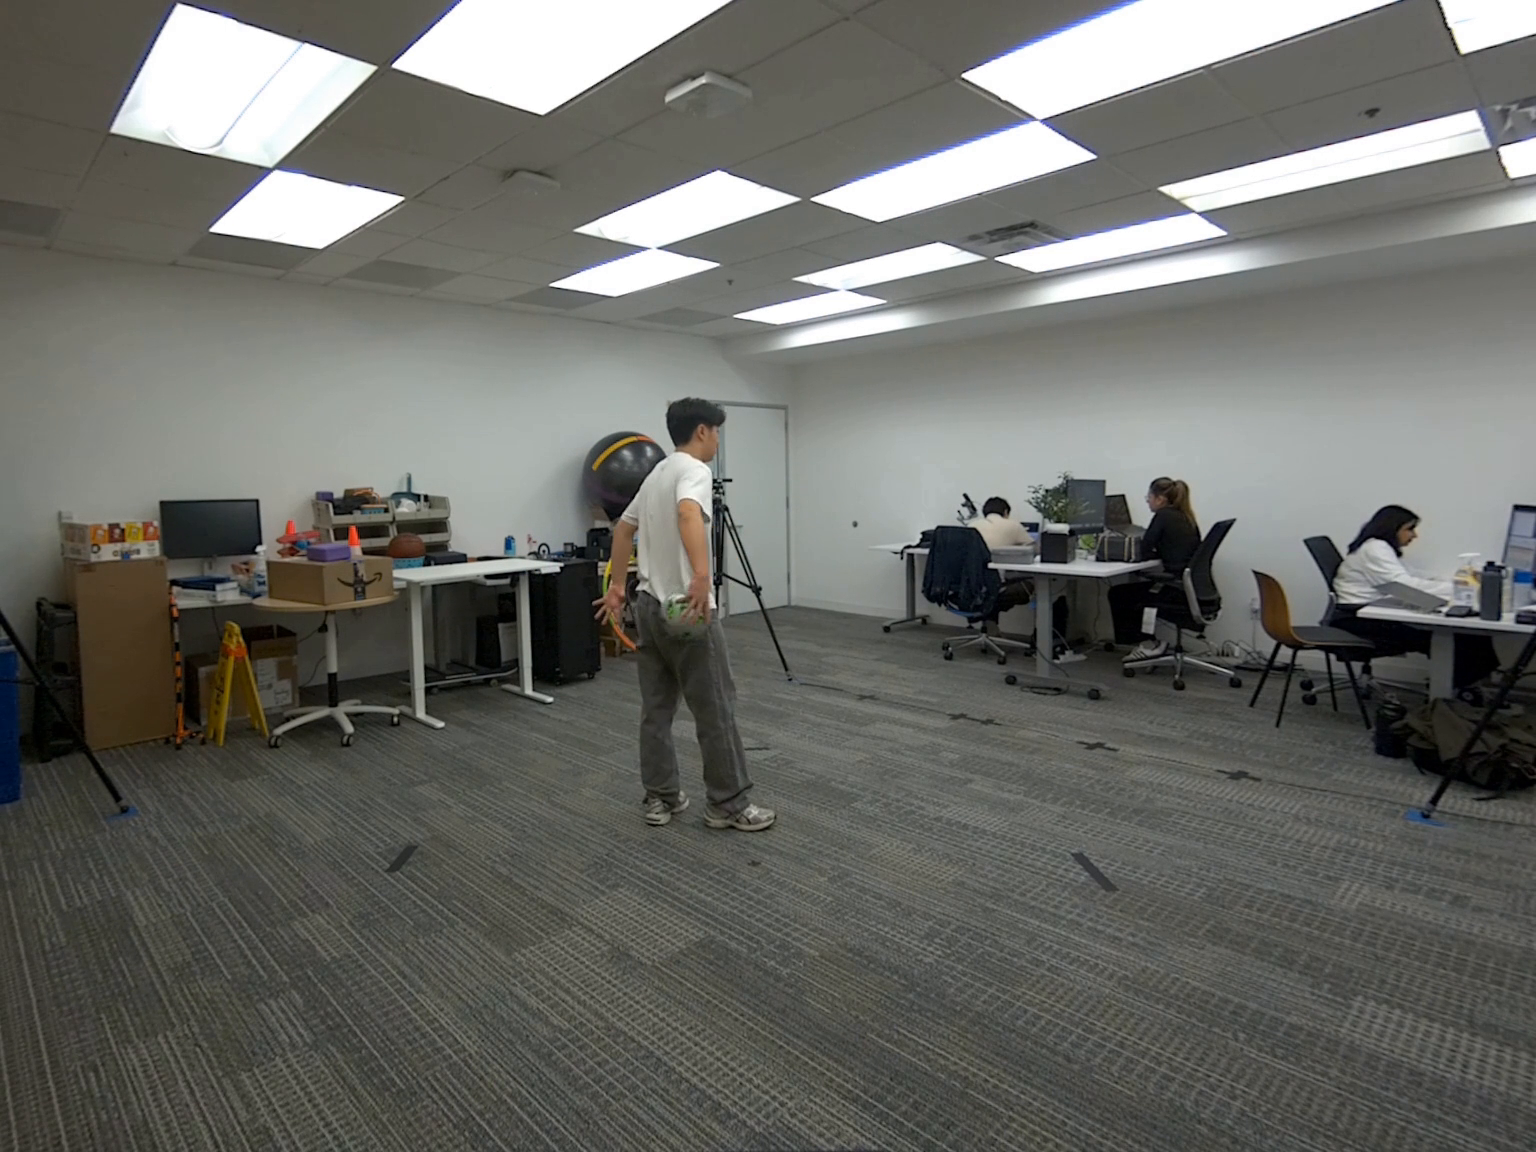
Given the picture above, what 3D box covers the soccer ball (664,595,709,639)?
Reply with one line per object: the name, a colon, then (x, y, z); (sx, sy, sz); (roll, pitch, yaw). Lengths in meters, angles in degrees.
soccer ball: (-0.281, 0.125, 3.186); (0.187, 0.187, 0.188); (-1, 5, -2)
